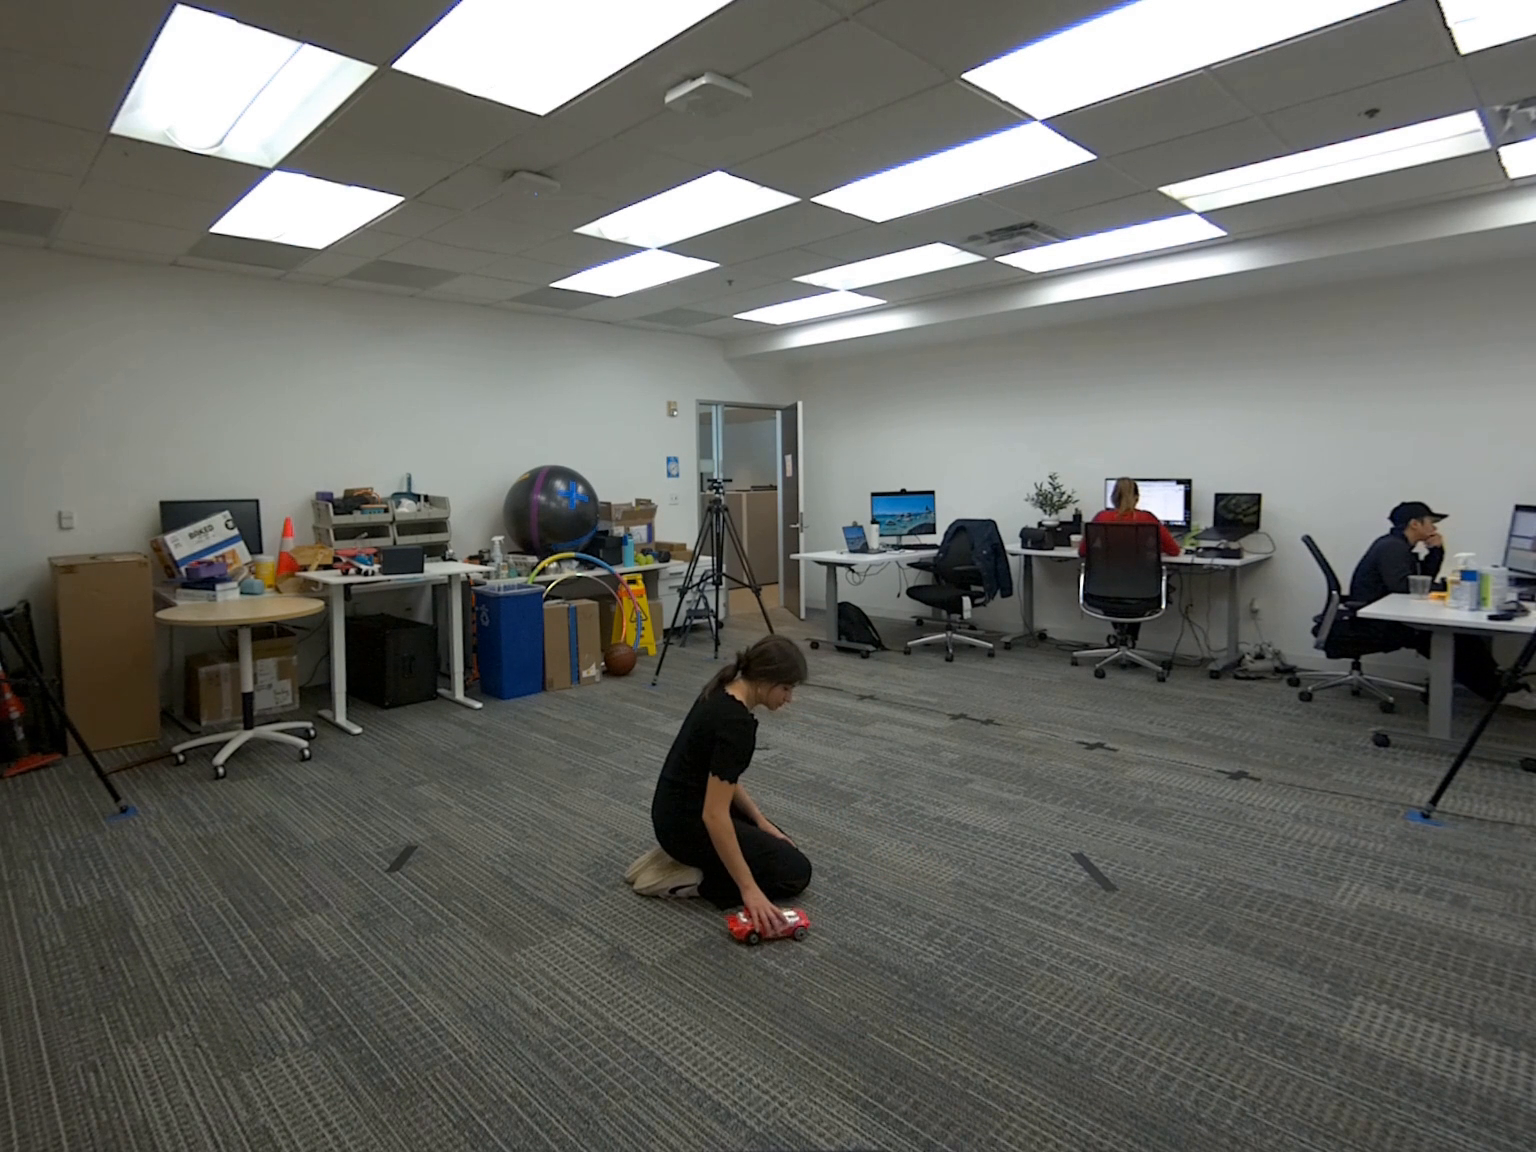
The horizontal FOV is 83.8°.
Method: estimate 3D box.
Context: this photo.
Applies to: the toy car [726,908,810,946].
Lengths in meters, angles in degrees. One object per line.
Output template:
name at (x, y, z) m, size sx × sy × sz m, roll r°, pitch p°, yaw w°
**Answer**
toy car at (-0.004, 1.075, 2.622) m, size 0.251 × 0.083 × 0.132 m, roll 8°, pitch 3°, yaw -12°
